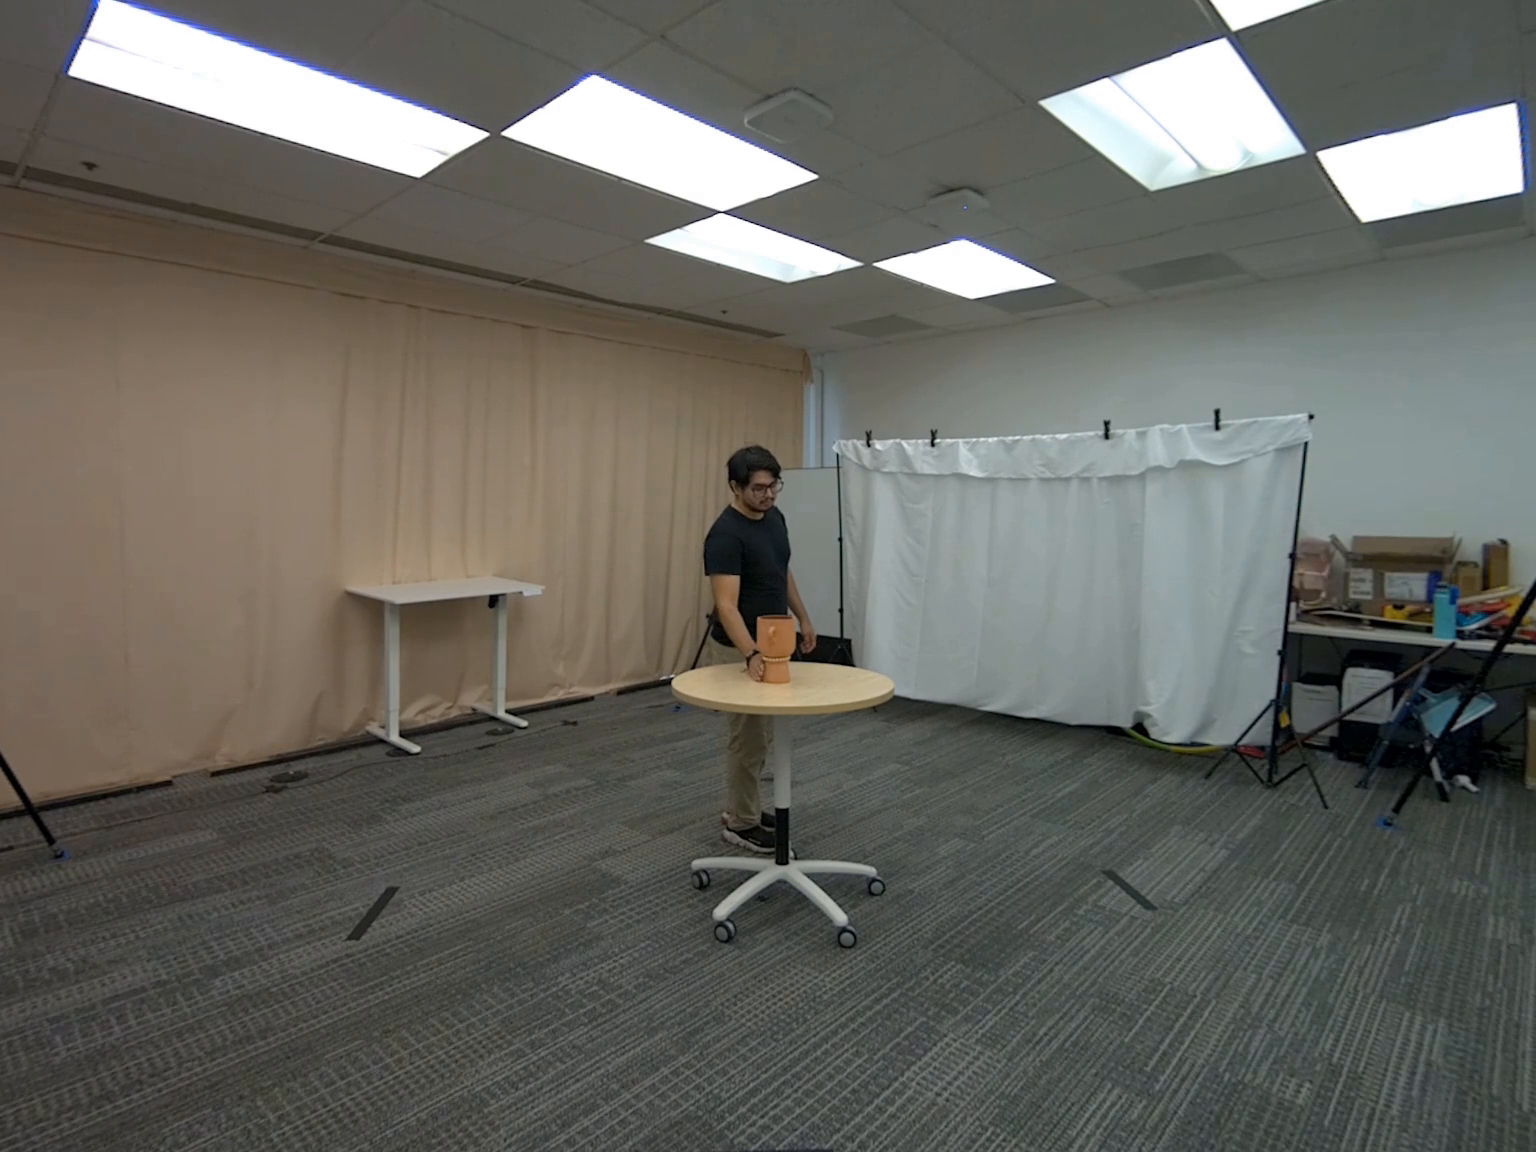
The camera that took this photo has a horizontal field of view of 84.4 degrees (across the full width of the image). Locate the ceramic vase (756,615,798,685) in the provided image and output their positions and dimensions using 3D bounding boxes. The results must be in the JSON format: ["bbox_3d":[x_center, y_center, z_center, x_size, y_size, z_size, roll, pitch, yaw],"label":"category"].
[{"bbox_3d":[0.030,0.253,2.924,0.154,0.219,0.139,-3,5,-36],"label":"ceramic vase"}]
